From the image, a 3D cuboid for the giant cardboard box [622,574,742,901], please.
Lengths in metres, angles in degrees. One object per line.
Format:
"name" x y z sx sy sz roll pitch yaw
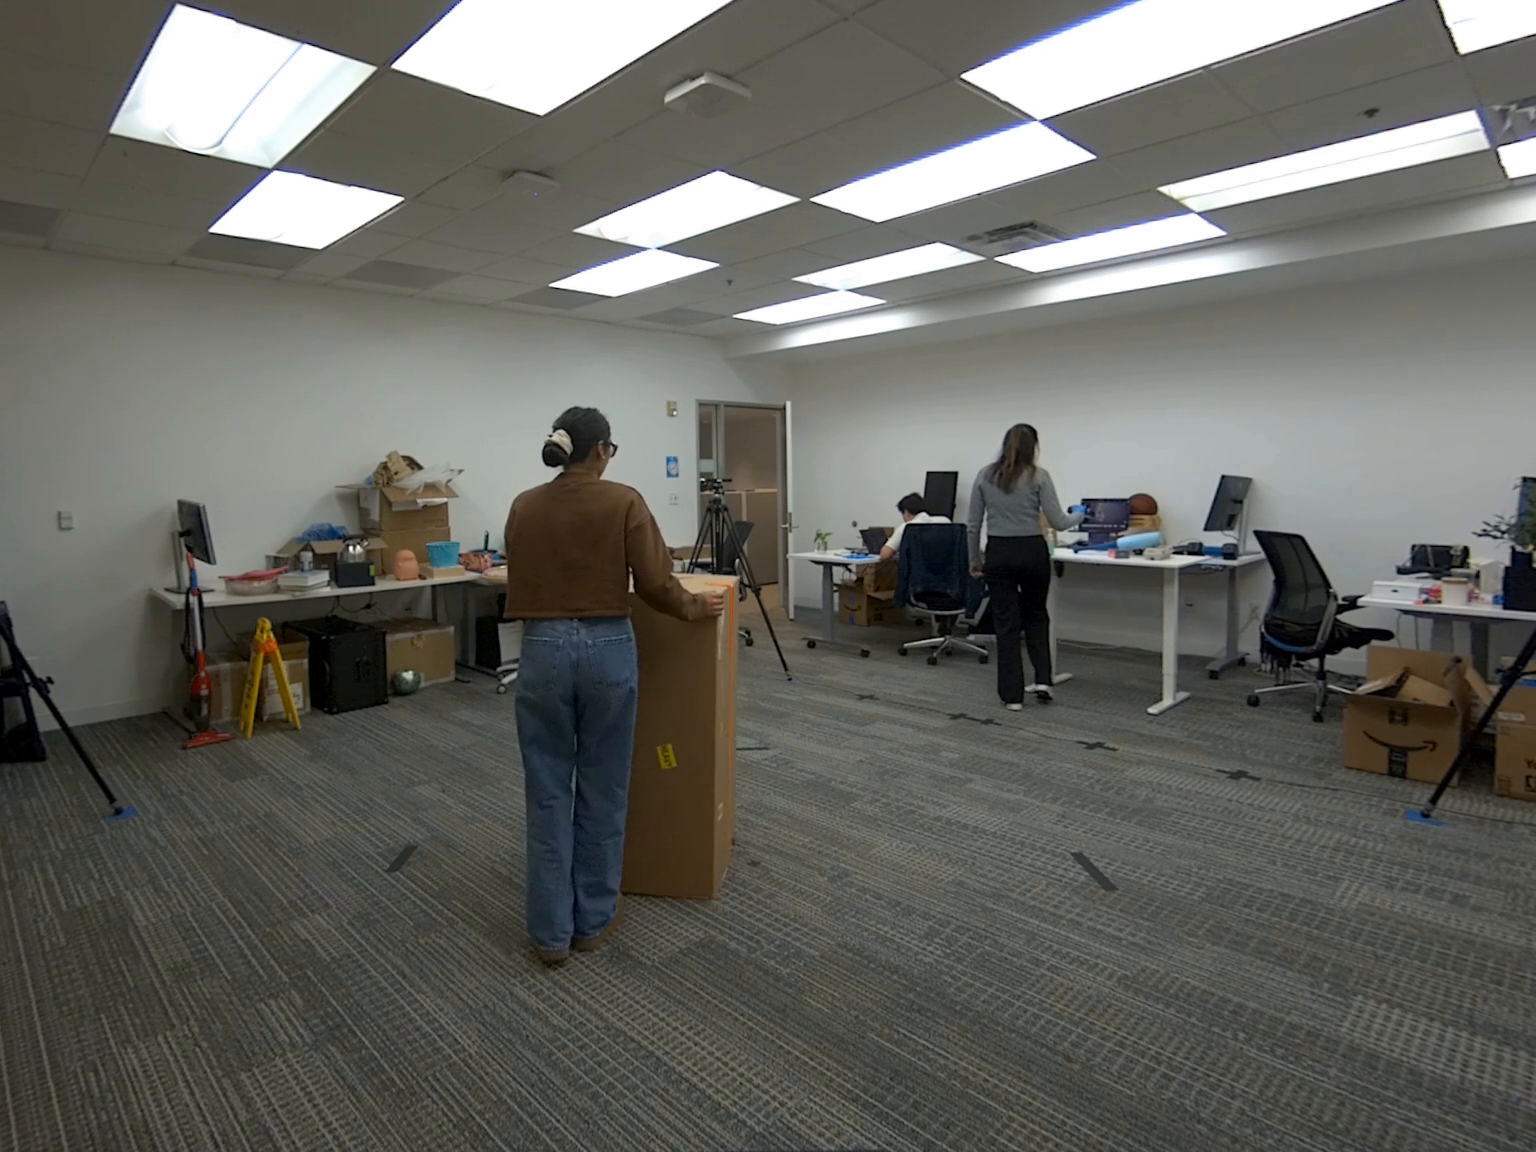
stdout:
"giant cardboard box" -0.346 0.535 3.122 0.429 1.022 0.576 1 4 6
